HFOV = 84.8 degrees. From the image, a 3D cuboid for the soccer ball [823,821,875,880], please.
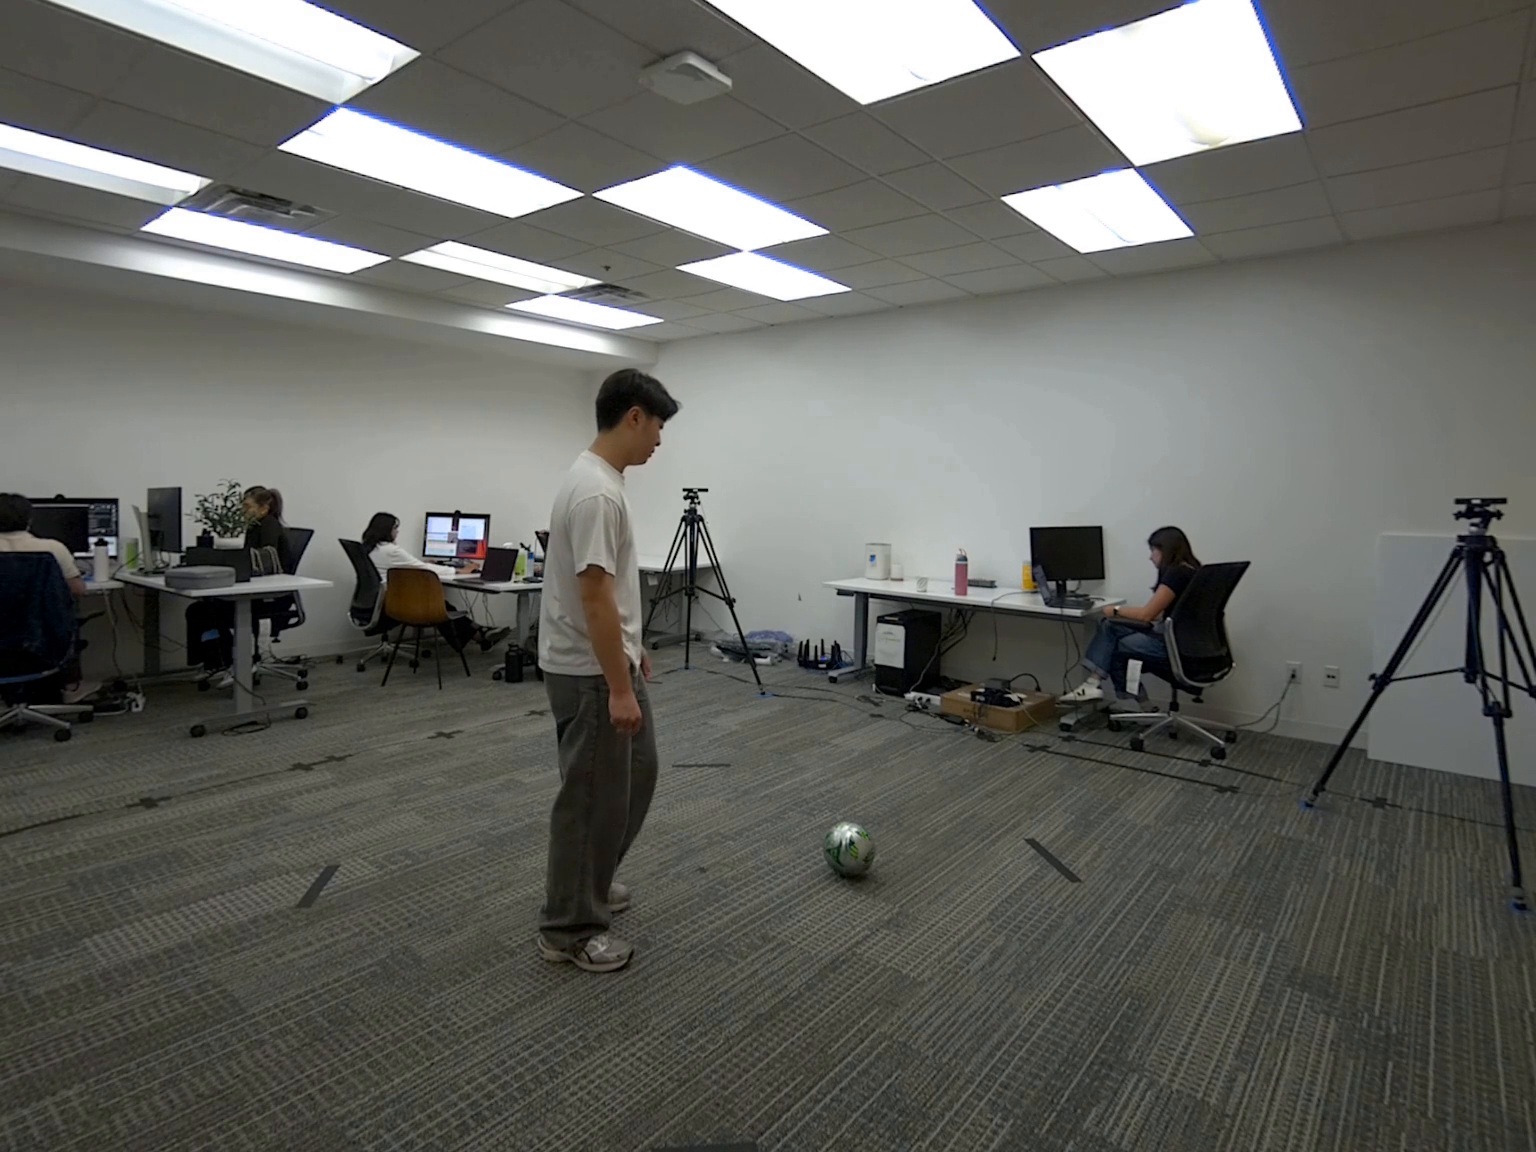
[{"bbox_3d":[0.298,0.984,3.097,0.187,0.187,0.188,1,4,-2],"label":"soccer ball"}]
